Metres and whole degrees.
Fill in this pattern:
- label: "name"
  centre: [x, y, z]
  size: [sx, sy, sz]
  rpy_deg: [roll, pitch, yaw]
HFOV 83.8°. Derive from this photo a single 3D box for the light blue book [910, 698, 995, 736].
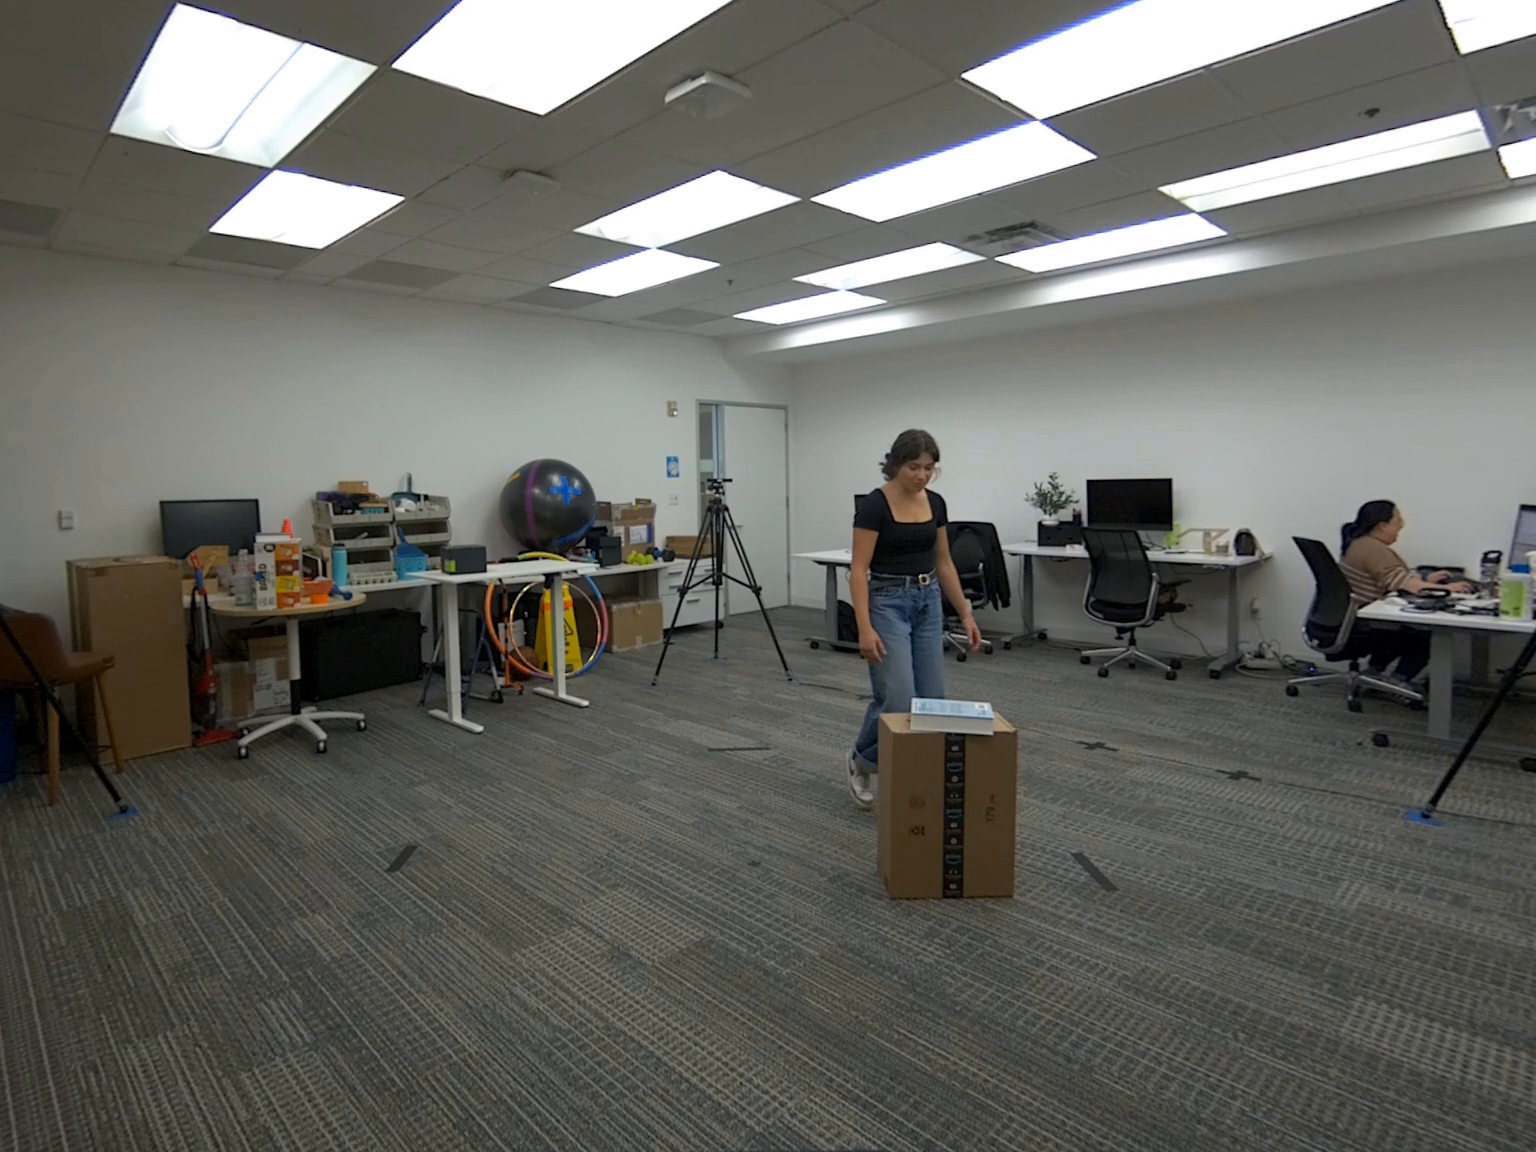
- label: "light blue book"
  centre: [0.628, 0.475, 2.876]
  size: [0.264, 0.059, 0.190]
  rpy_deg: [1, 7, 12]
